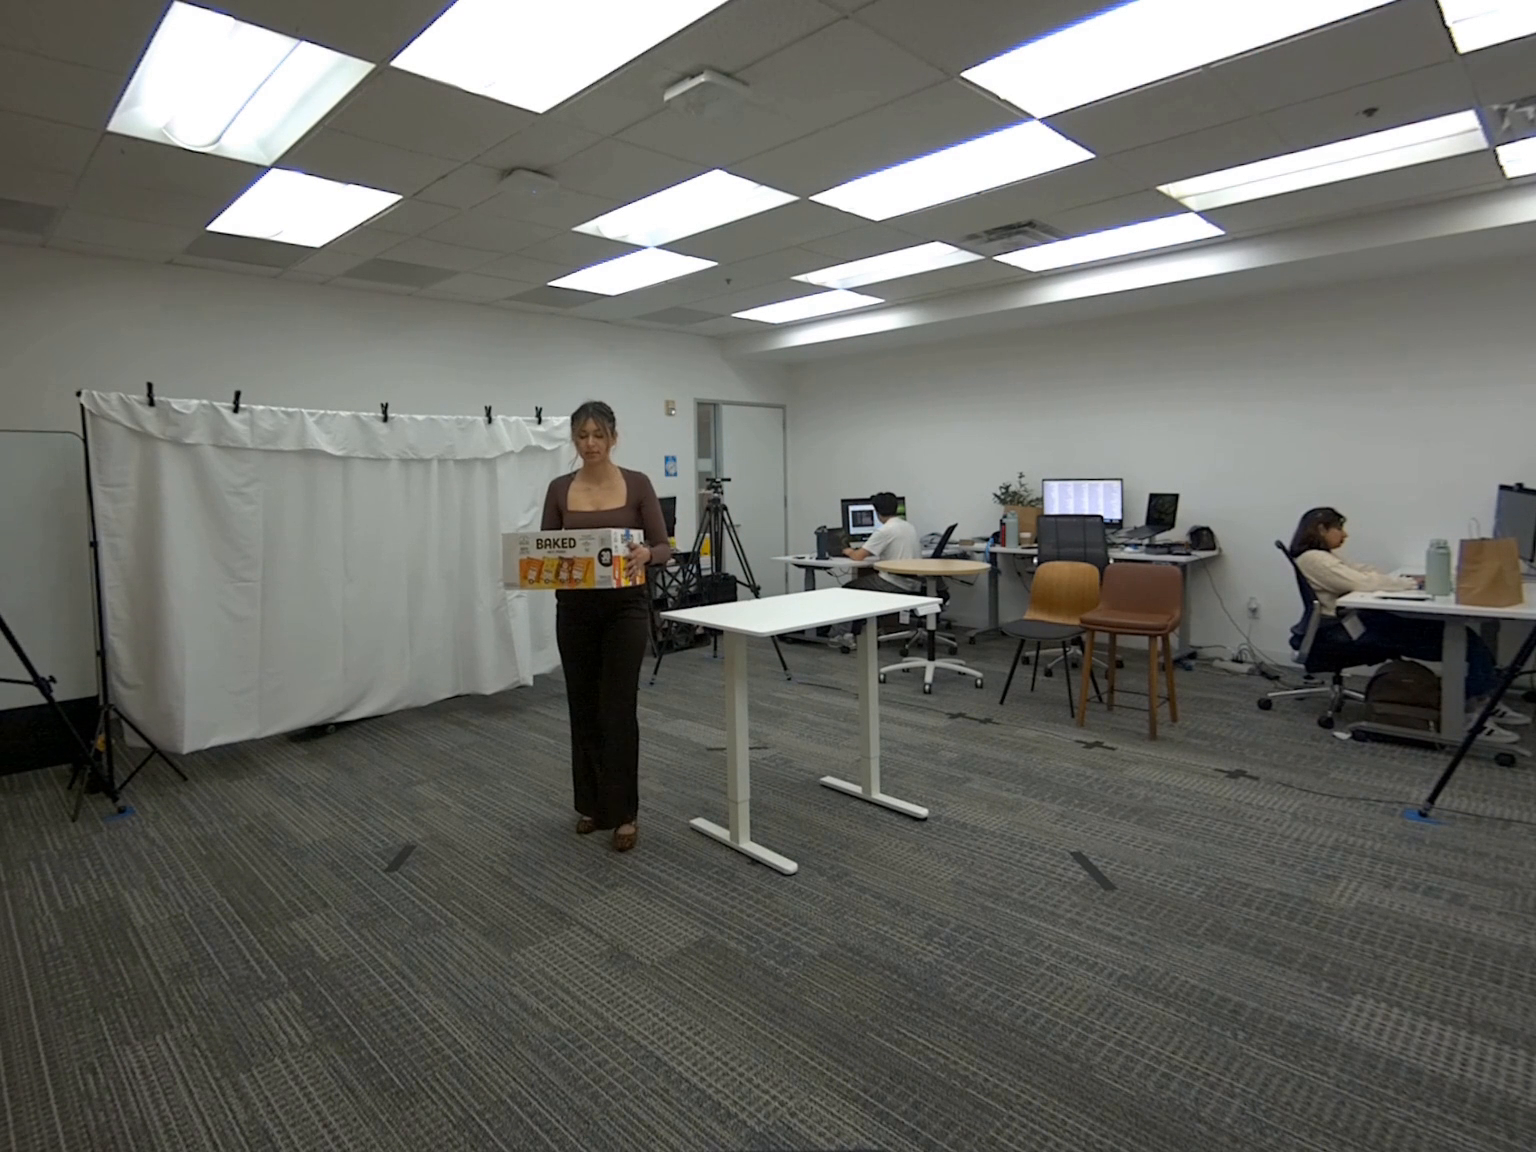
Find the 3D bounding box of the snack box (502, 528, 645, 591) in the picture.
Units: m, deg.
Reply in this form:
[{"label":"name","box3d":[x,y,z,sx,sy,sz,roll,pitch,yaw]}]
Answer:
[{"label":"snack box","box3d":[-0.692,-0.059,3.079,0.410,0.206,0.336,-1,1,12]}]
